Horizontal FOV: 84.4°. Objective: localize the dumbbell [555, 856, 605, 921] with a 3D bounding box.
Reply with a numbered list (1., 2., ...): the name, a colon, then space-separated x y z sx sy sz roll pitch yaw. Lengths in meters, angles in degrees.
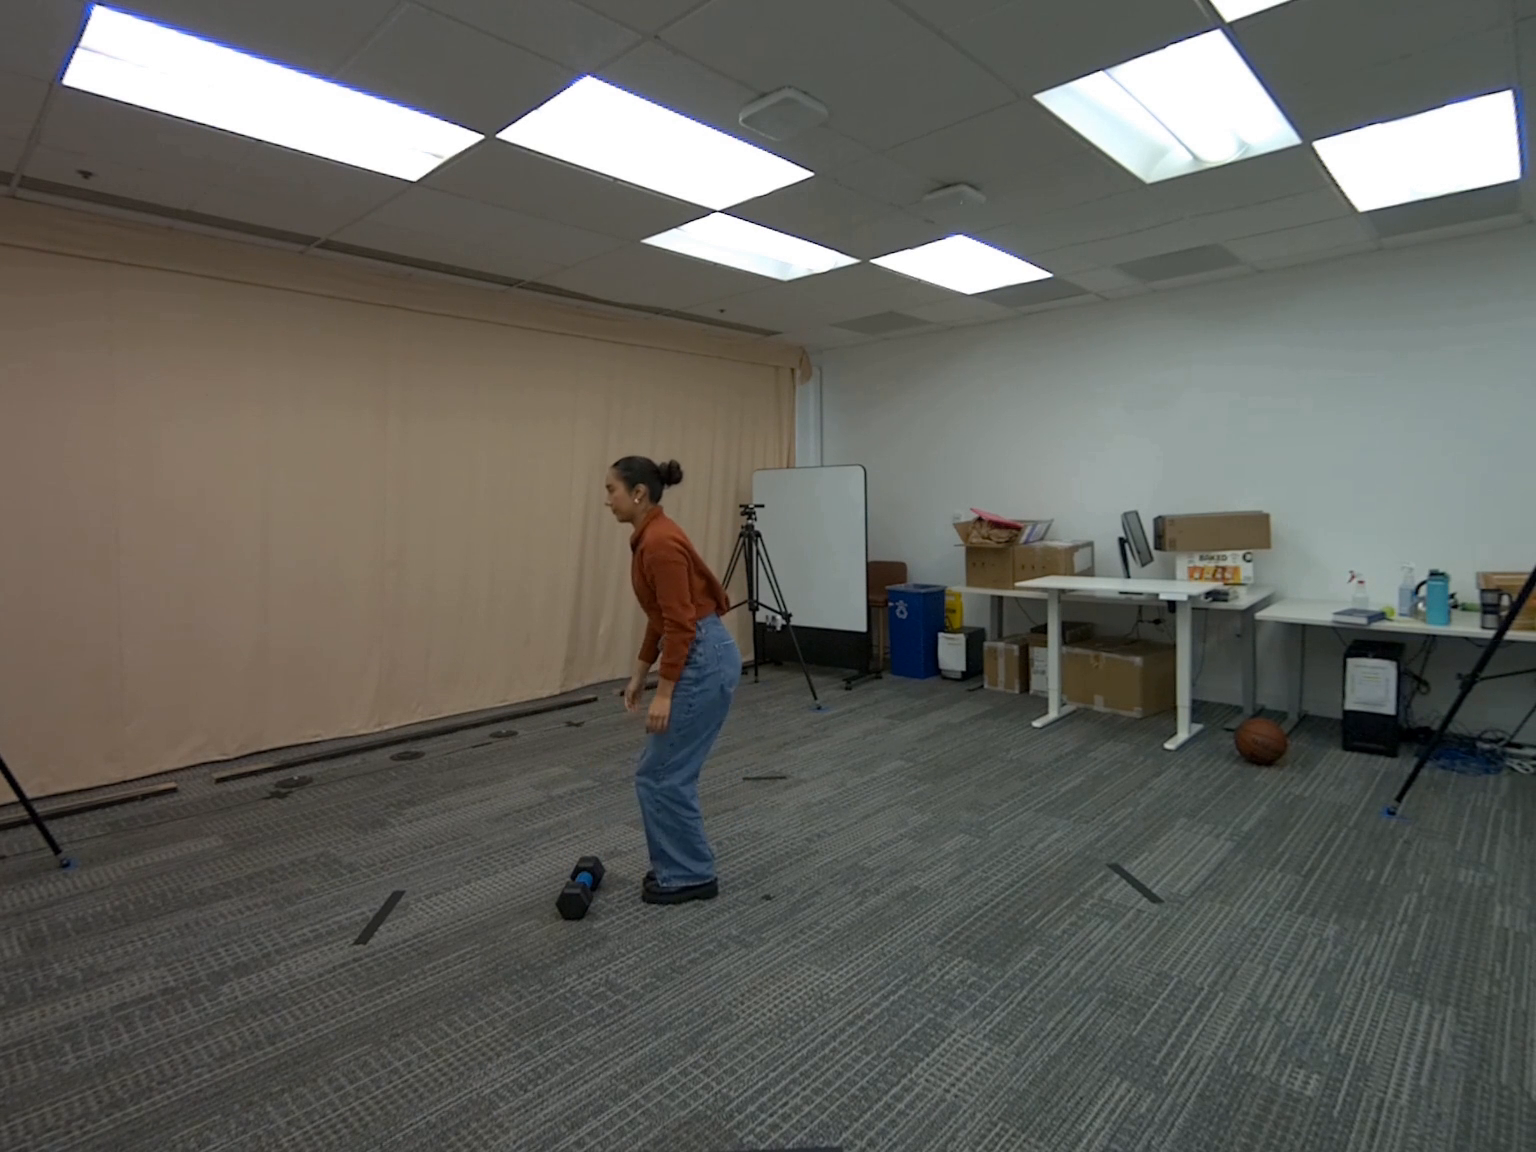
1. dumbbell: -0.658 1.105 2.986 0.109 0.123 0.293 30 4 -2
